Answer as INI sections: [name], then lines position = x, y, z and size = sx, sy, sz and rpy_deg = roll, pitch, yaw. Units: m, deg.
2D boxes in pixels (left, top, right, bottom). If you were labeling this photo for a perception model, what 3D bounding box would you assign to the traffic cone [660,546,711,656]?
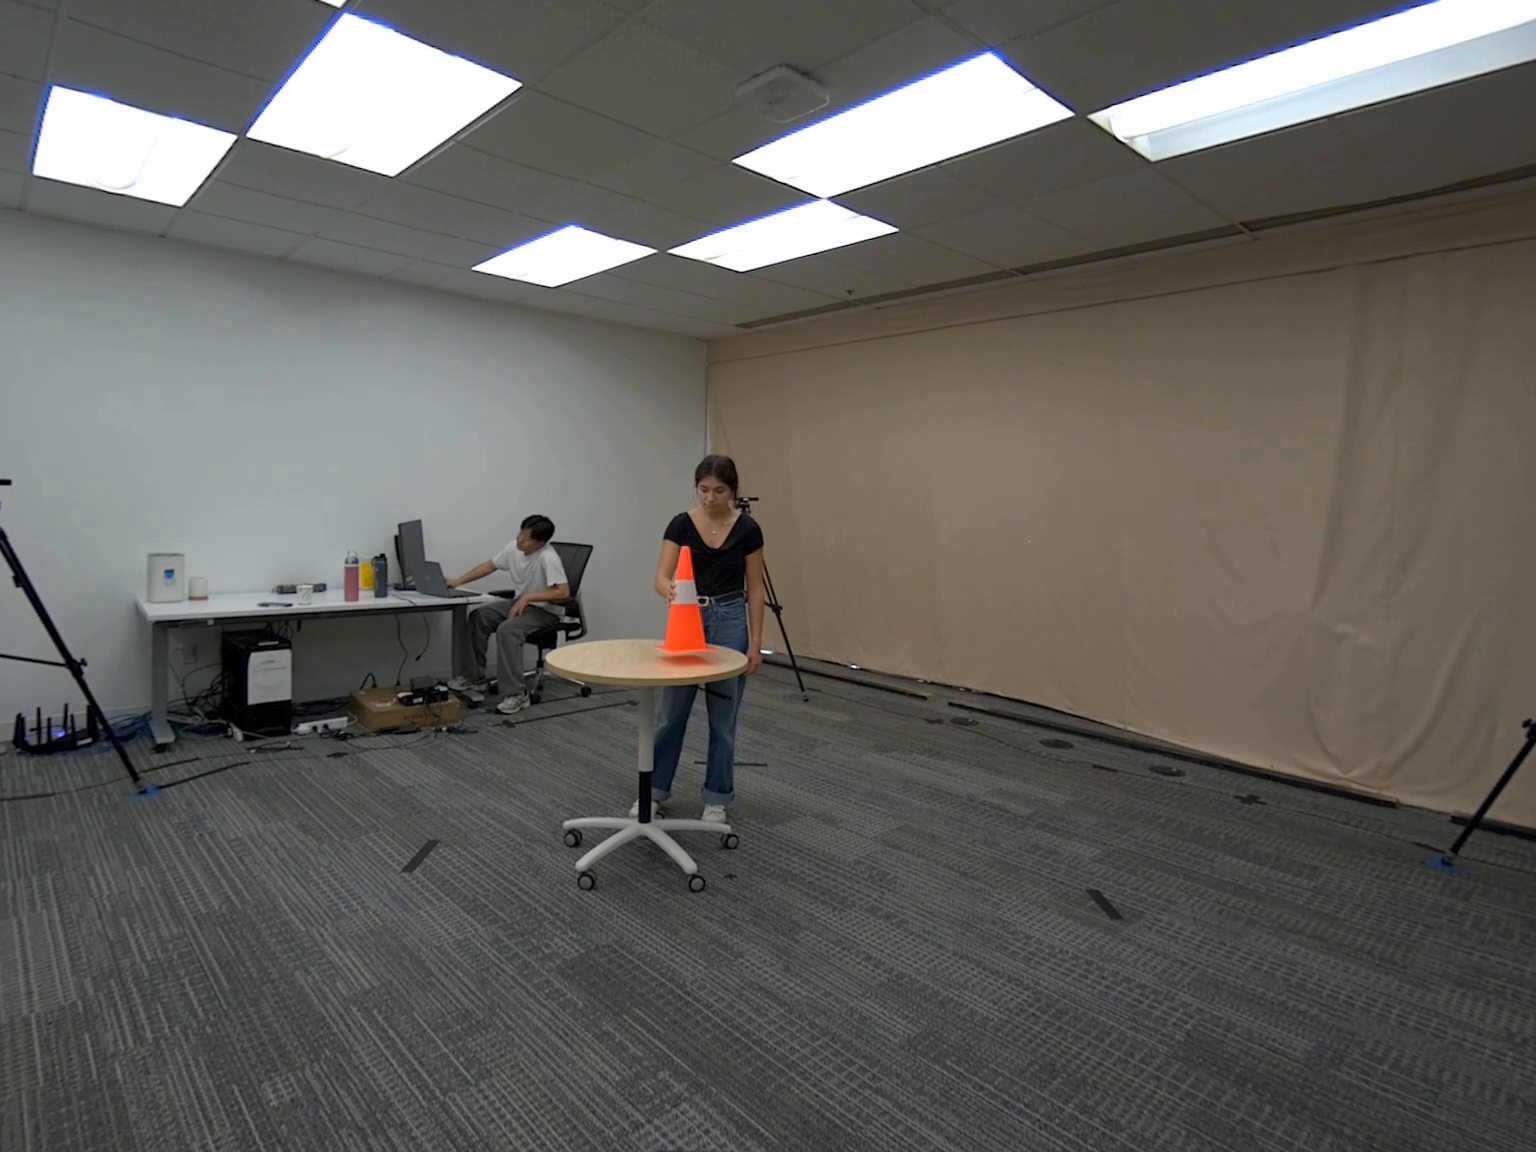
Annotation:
[traffic cone]
position = -0.332, 0.087, 3.153
size = 0.200, 0.384, 0.208
rpy_deg = 0, 0, -23
